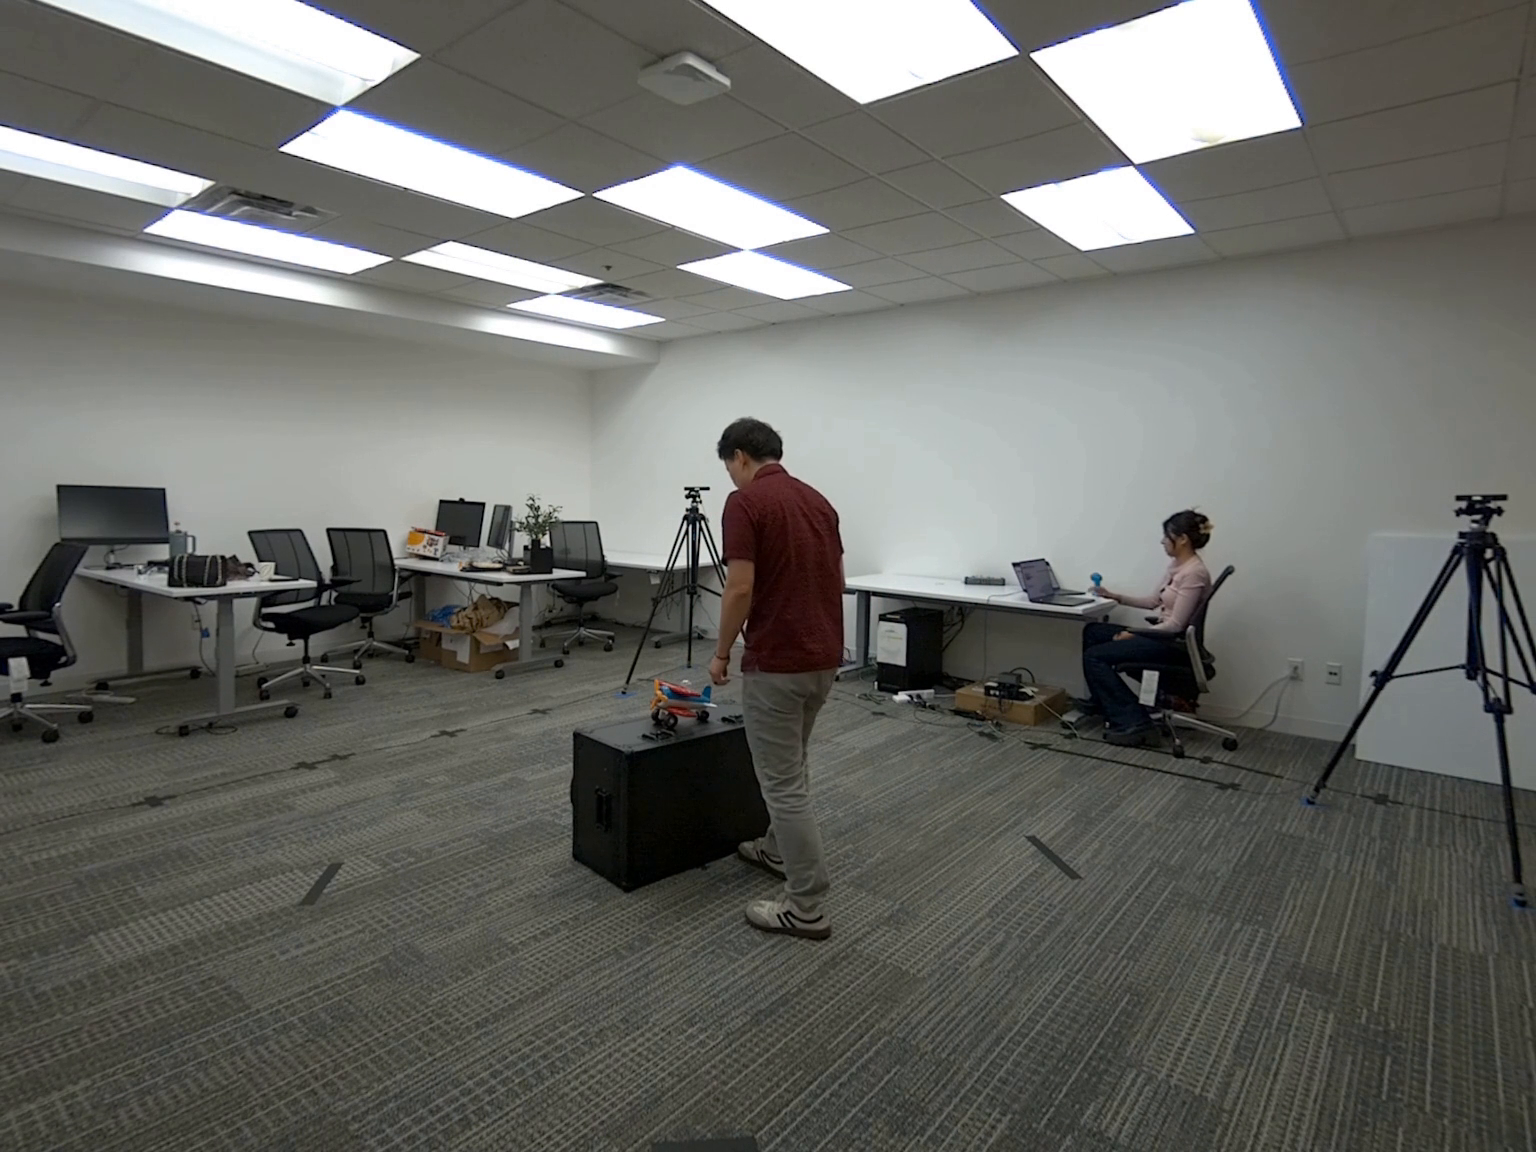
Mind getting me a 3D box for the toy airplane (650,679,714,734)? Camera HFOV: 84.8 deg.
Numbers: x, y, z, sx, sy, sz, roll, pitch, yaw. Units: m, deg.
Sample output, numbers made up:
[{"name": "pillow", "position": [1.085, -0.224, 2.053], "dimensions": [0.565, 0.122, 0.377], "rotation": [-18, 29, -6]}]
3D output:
[{"name": "toy airplane", "position": [-0.351, 0.485, 3.305], "dimensions": [0.257, 0.155, 0.254], "rotation": [3, 7, 24]}]
